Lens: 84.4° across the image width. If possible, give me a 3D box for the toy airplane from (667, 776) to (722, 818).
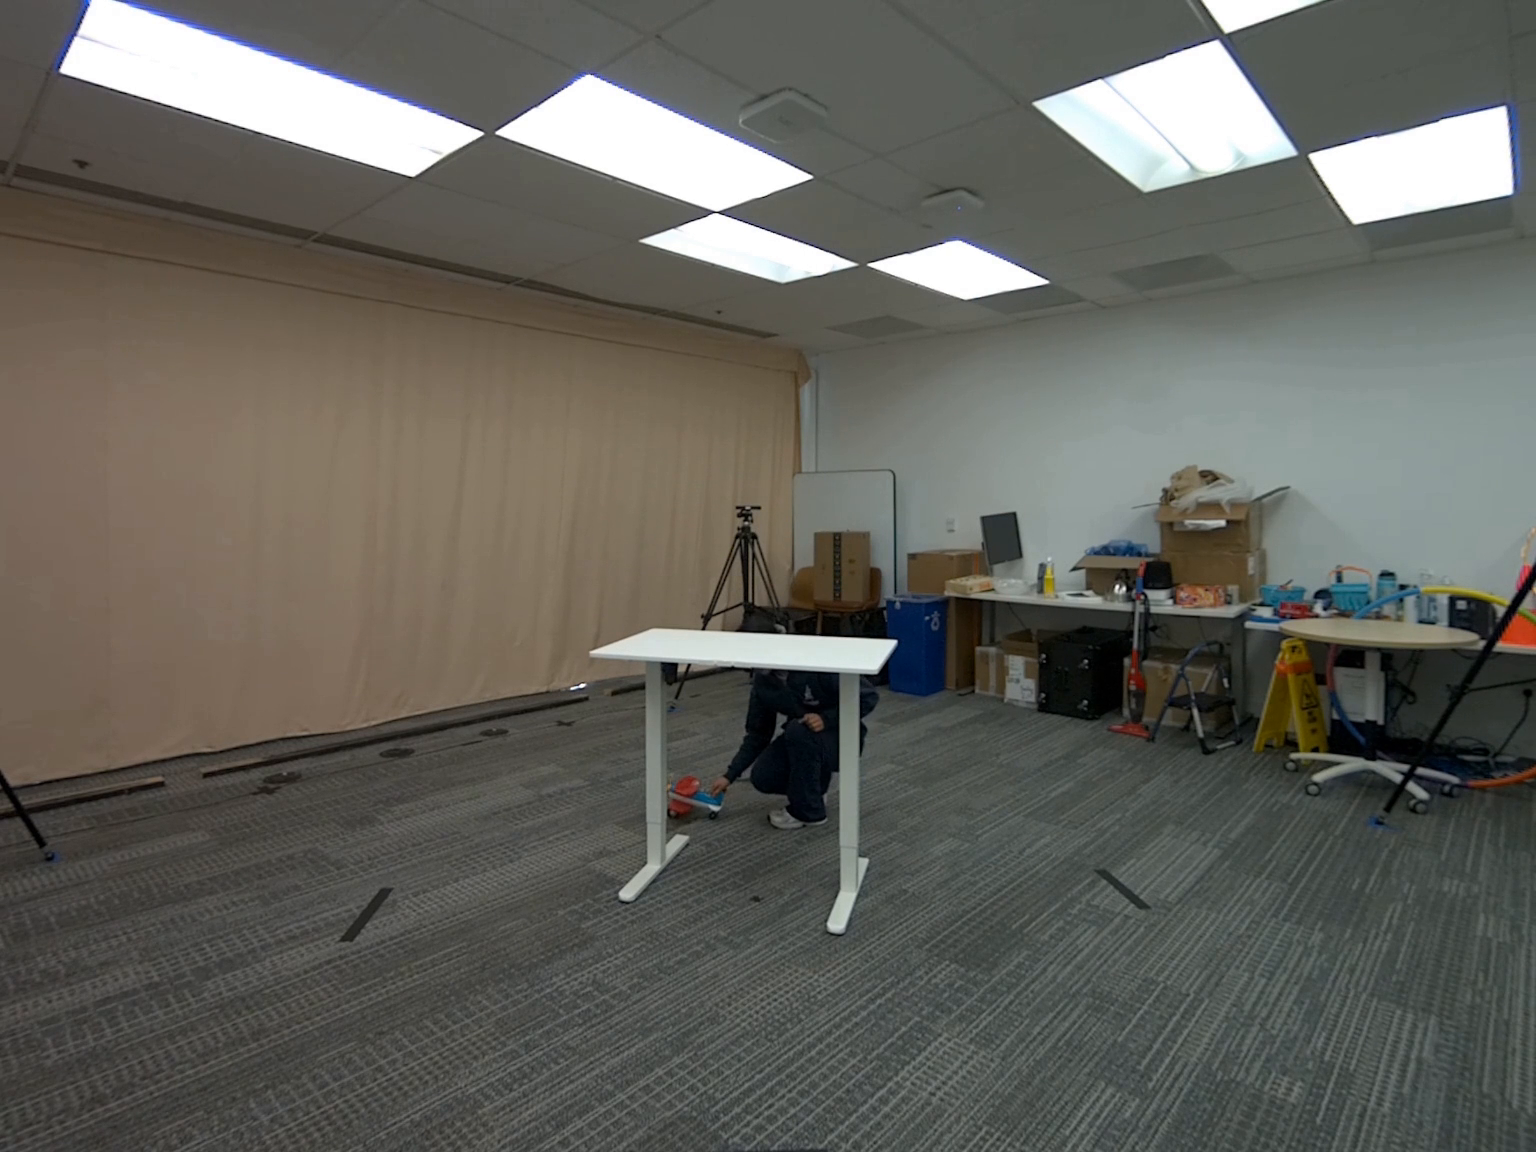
[{"bbox_3d":[-0.309,1.007,3.799,0.255,0.156,0.255,0,1,-16],"label":"toy airplane"}]
